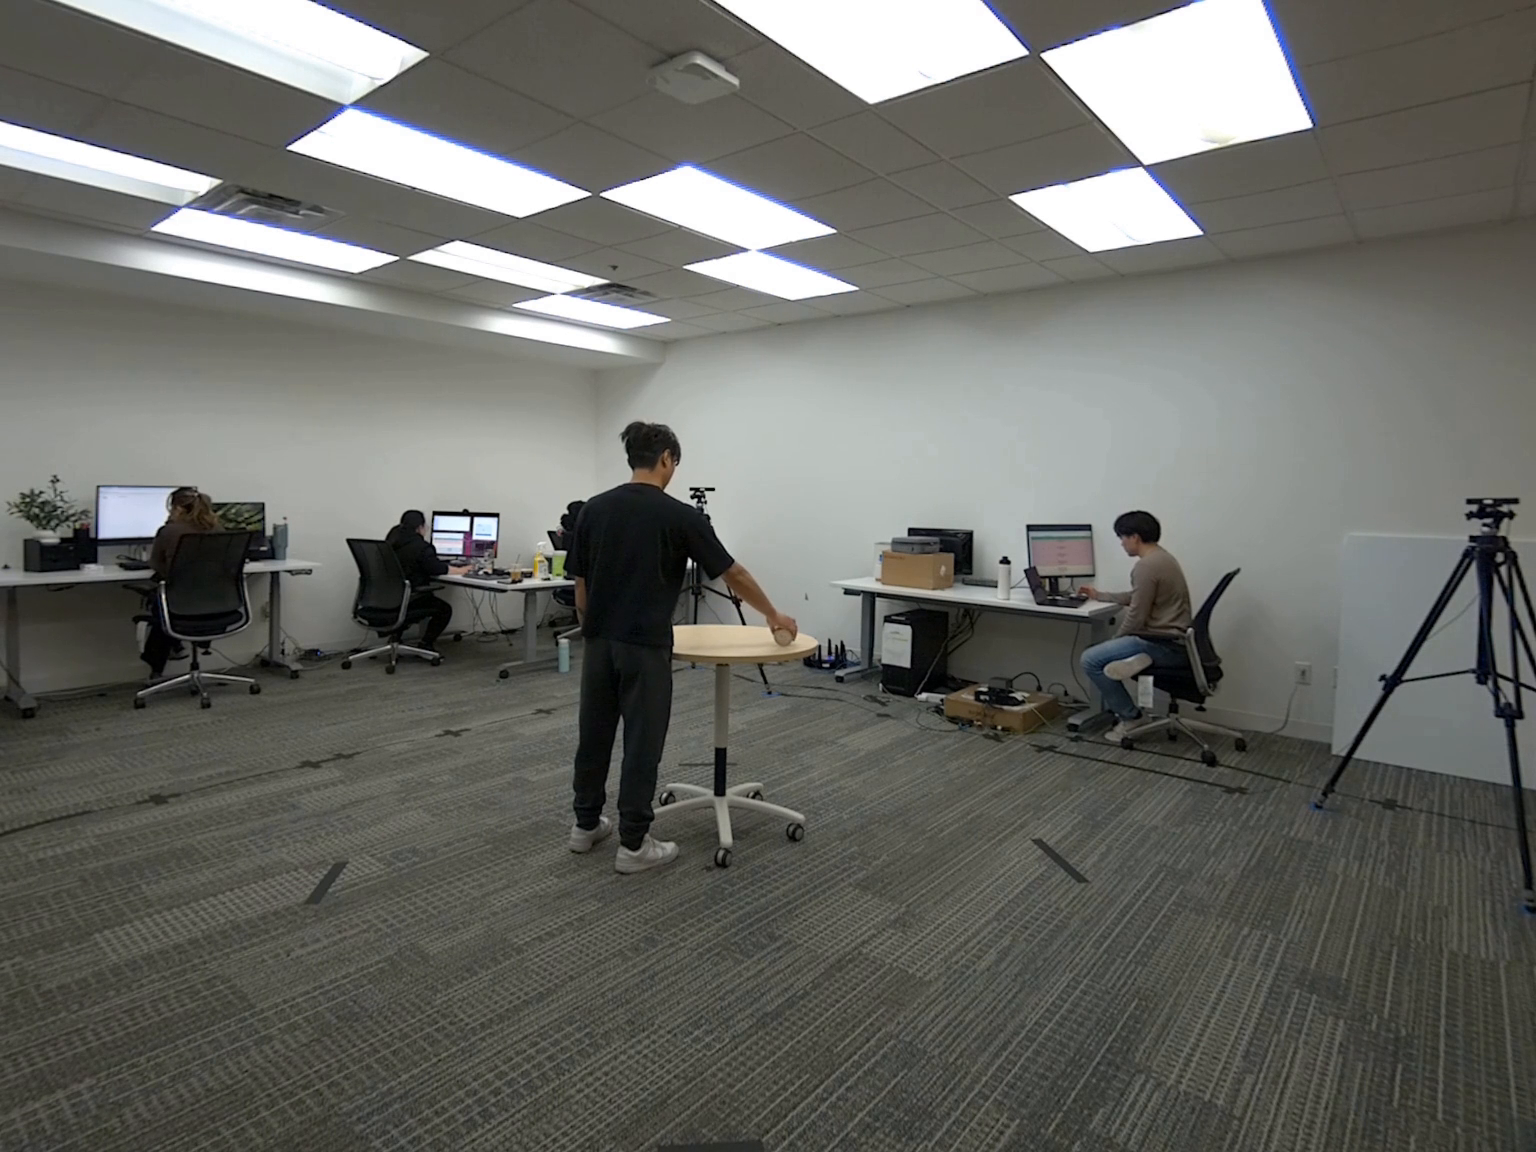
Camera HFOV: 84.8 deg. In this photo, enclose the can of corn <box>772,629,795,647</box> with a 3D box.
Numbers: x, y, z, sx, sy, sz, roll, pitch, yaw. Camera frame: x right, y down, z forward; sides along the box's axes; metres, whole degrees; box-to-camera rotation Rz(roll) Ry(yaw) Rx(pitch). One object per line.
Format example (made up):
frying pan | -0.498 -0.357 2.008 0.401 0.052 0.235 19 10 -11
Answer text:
can of corn | 0.052 0.221 3.342 0.075 0.073 0.111 1 17 8
